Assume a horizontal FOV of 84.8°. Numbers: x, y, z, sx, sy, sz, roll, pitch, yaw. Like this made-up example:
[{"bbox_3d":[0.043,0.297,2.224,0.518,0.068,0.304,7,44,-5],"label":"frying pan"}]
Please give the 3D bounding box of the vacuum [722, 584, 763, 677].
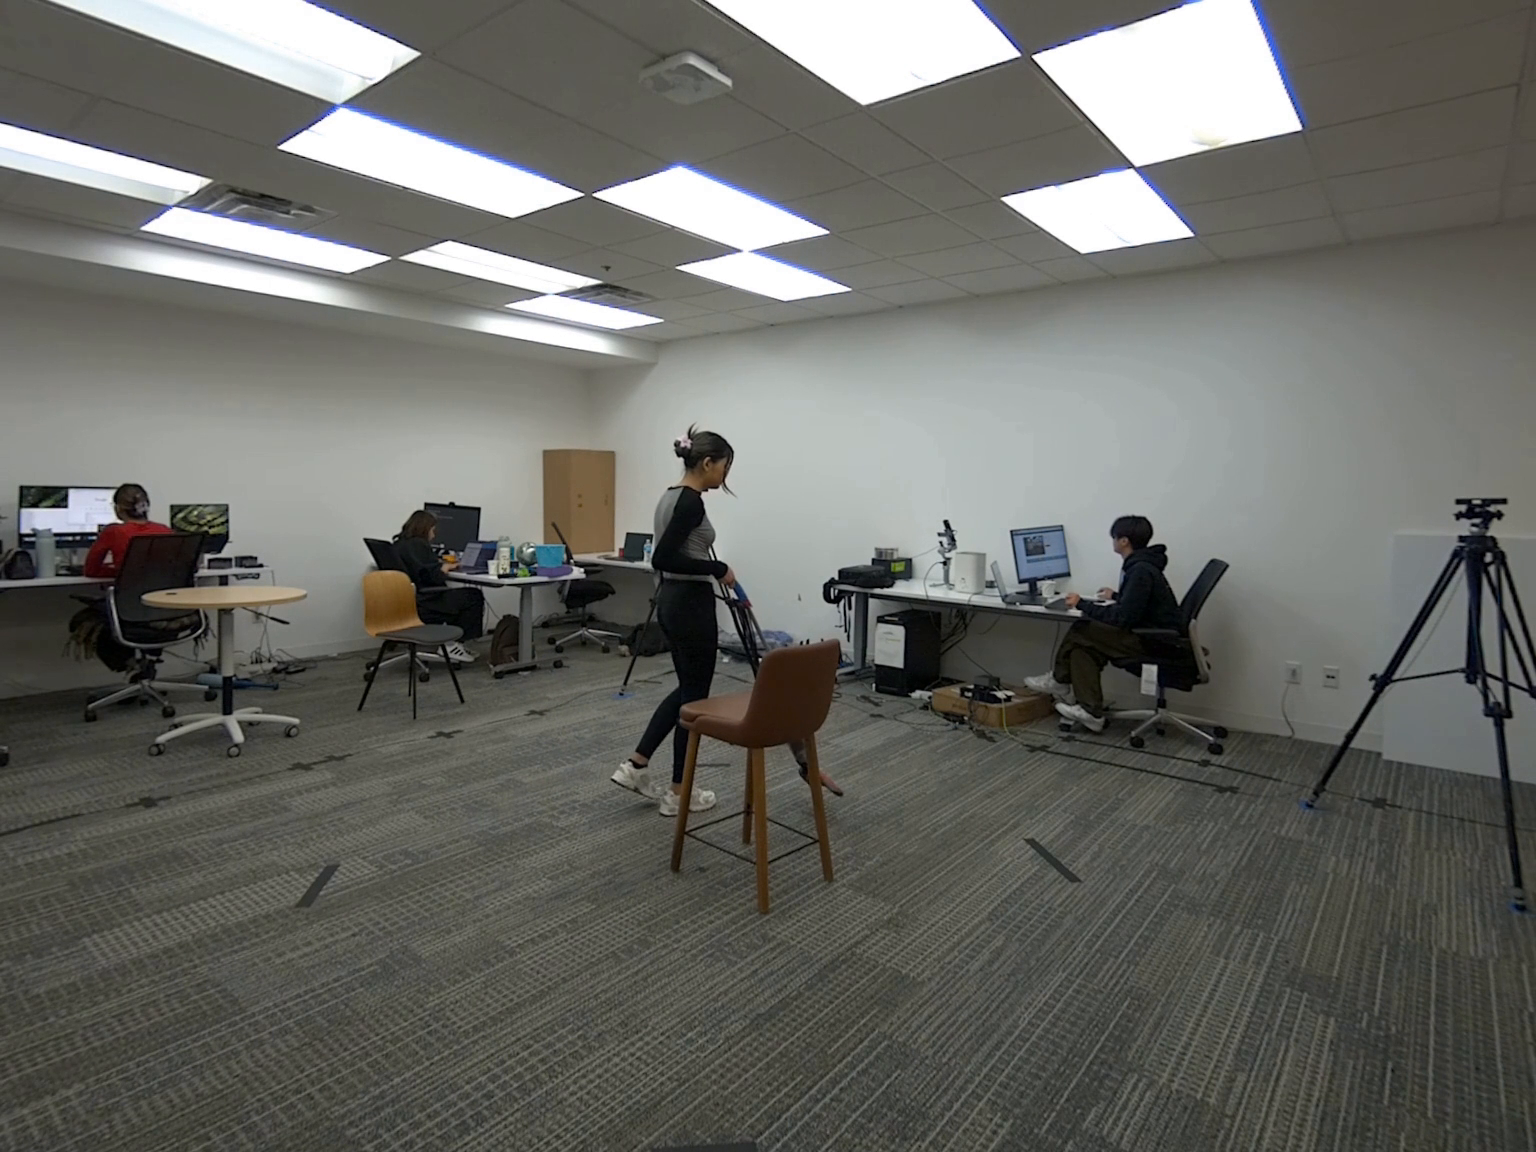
[{"bbox_3d":[-0.003,0.416,3.587,0.143,1.035,0.257,-26,11,-9],"label":"vacuum"}]
